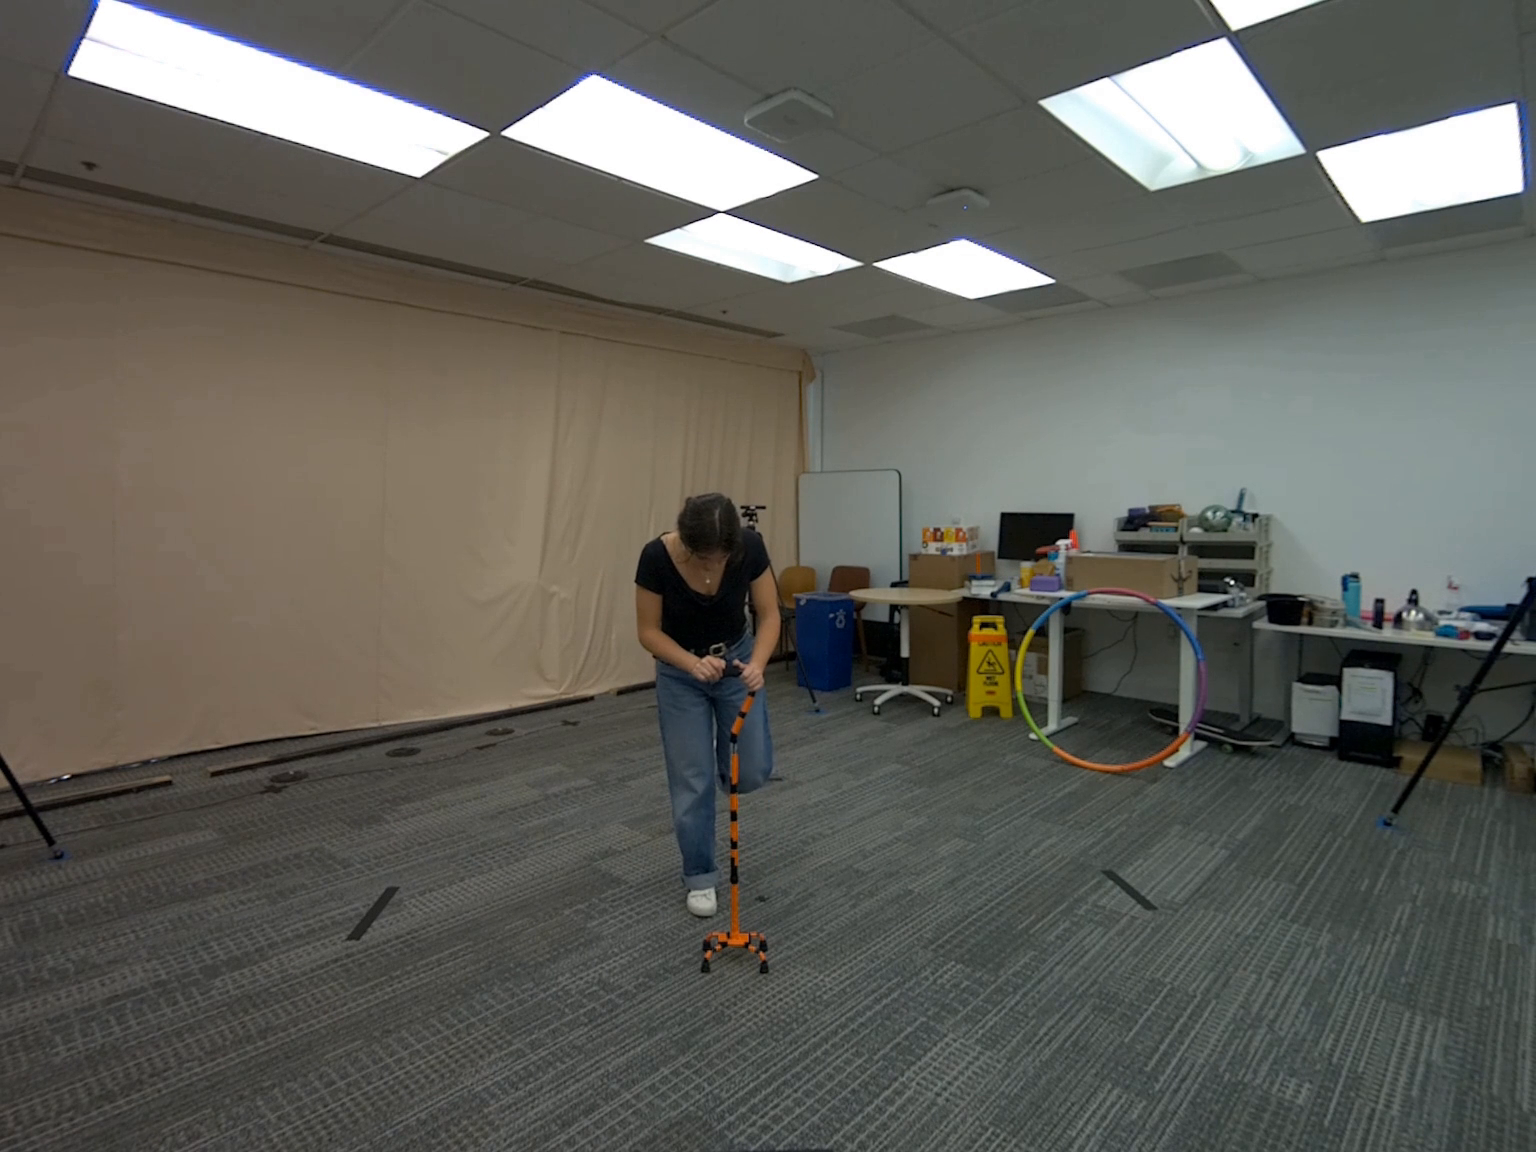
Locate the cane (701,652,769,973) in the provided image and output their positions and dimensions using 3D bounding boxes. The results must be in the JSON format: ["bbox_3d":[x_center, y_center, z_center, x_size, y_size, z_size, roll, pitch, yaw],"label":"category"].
[{"bbox_3d":[-0.100,0.720,2.548,0.207,0.906,0.152,0,4,0],"label":"cane"}]
